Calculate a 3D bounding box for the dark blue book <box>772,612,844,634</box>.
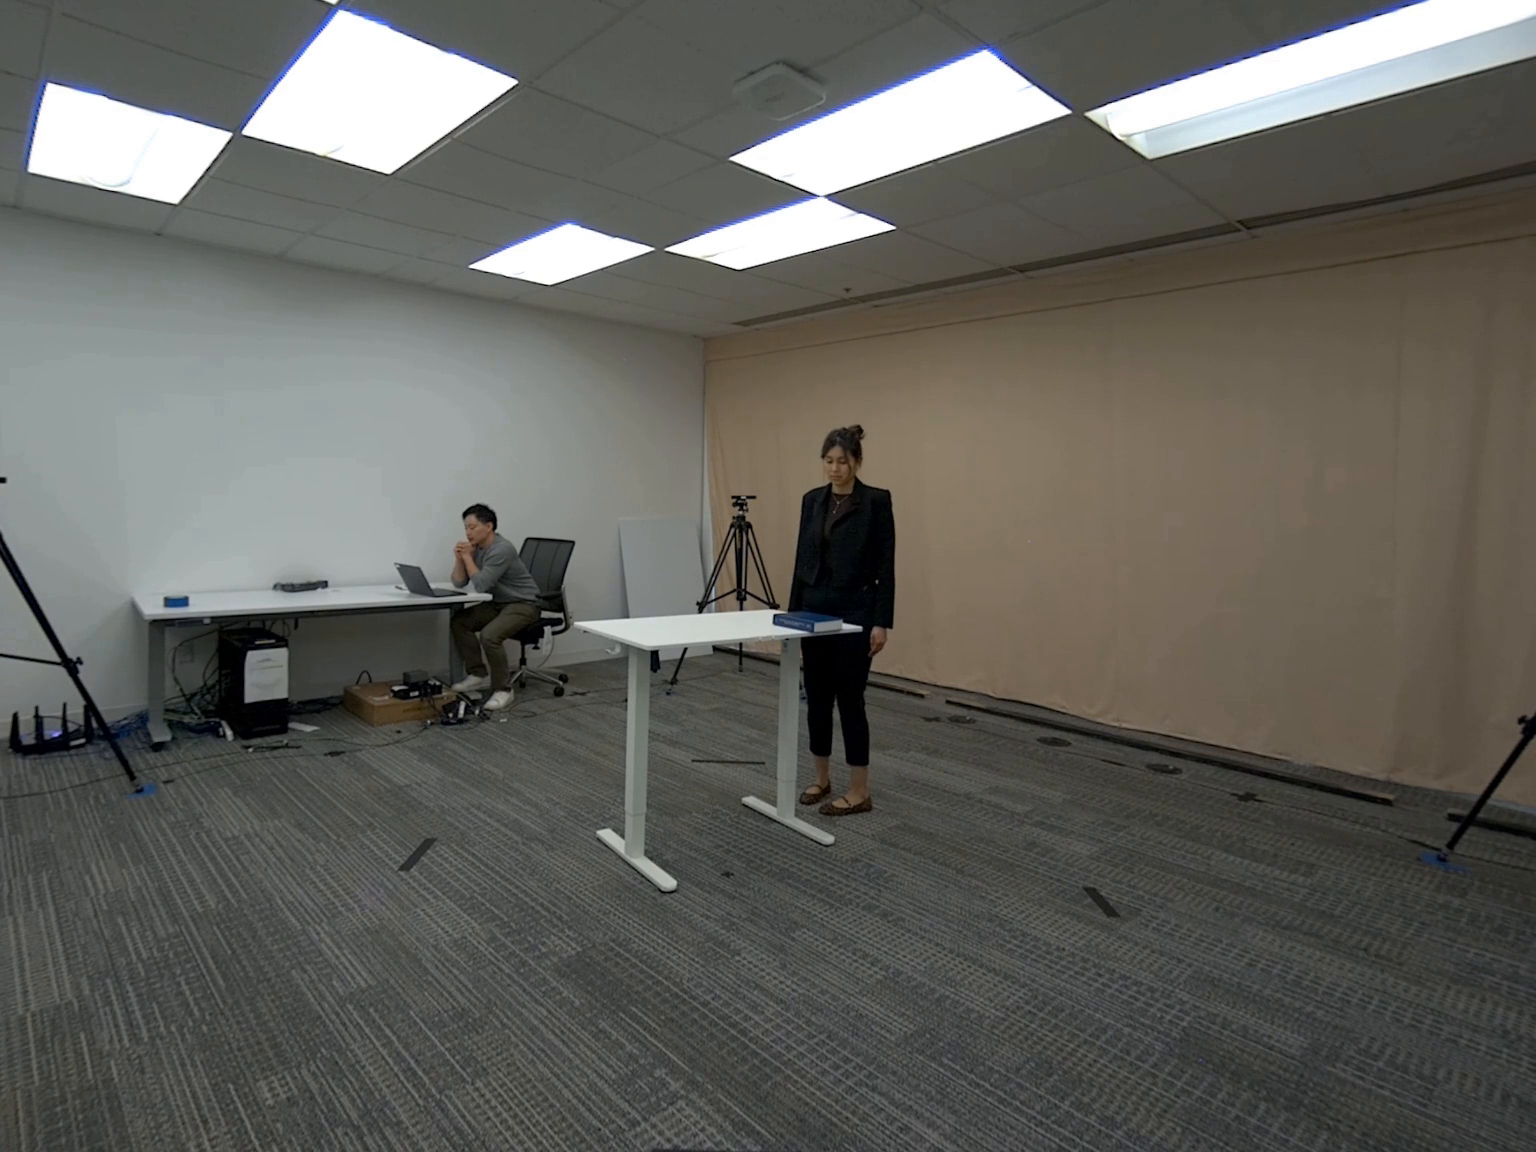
[{"bbox_3d":[0.153,0.184,3.353,0.160,0.045,0.251,-3,7,-39],"label":"dark blue book"}]
